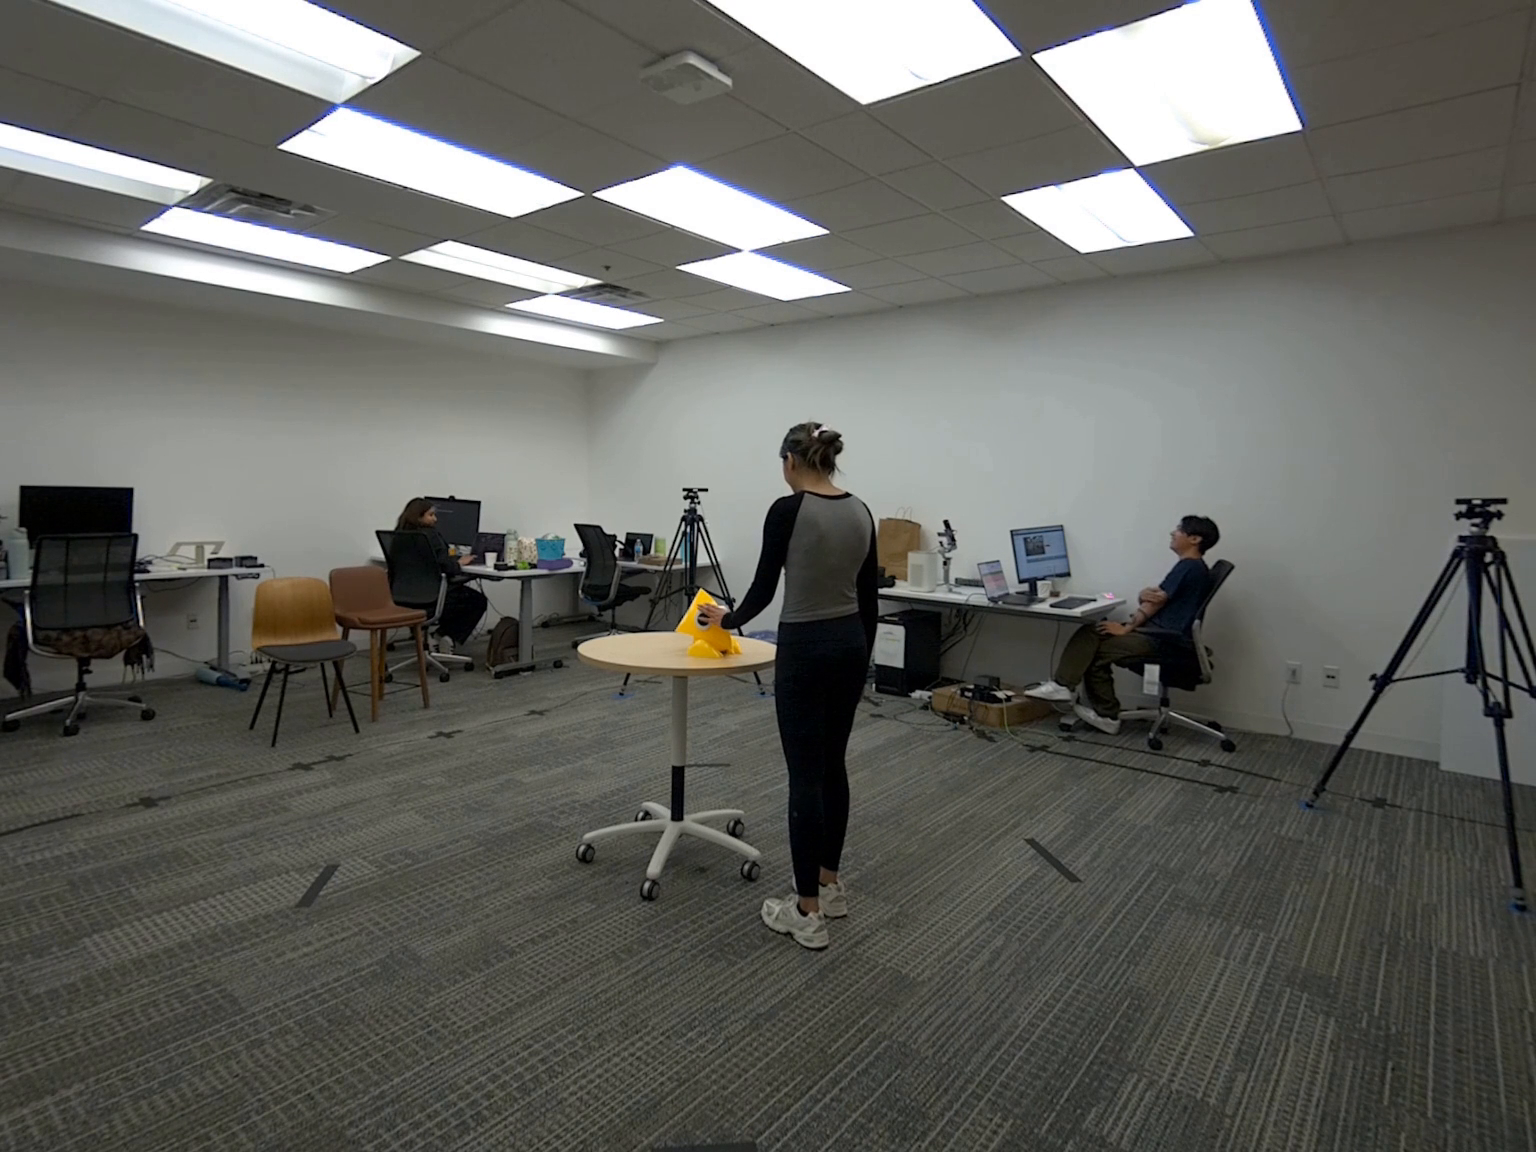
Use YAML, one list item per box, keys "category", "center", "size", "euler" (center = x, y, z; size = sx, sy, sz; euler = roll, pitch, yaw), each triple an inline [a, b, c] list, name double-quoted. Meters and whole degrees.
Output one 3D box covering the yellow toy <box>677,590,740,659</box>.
- category: "yellow toy"
  center: [-0.214, 0.164, 3.106]
  size: [0.199, 0.230, 0.198]
  euler: [3, 4, 40]
